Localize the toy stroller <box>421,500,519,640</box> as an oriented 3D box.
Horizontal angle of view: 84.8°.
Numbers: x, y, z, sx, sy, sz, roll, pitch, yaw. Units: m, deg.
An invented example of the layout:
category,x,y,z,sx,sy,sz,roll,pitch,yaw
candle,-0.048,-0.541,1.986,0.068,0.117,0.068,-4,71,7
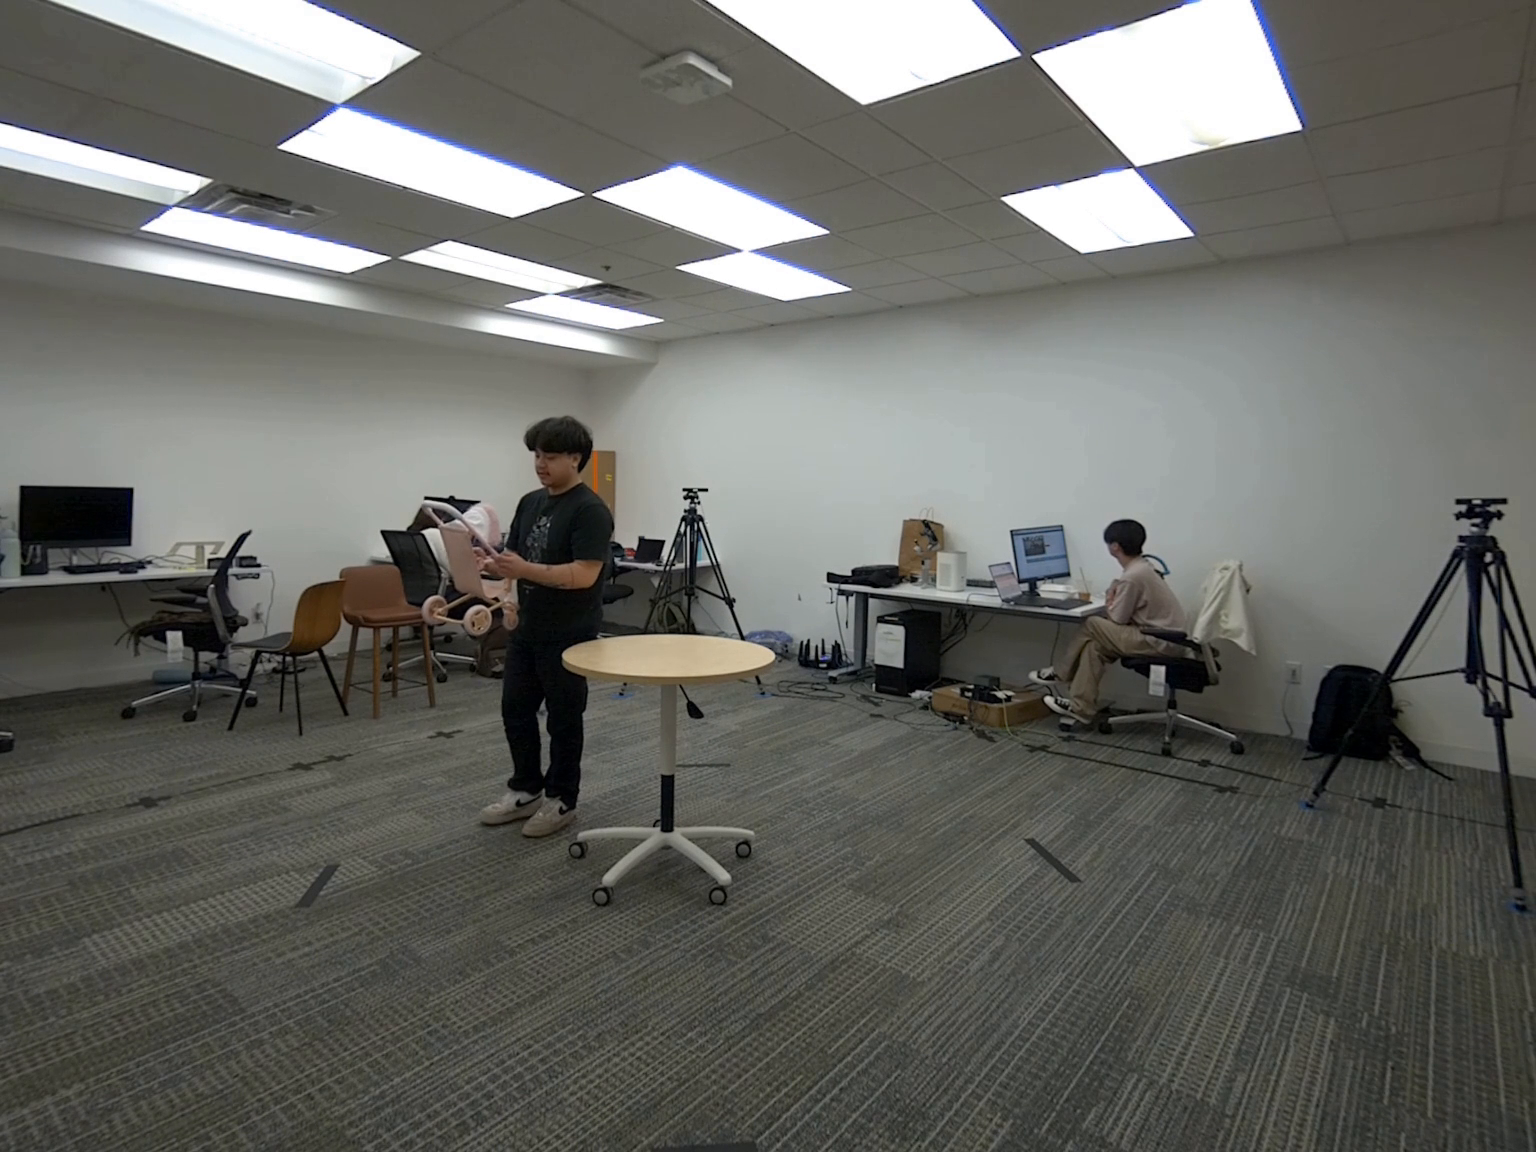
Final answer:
category,x,y,z,sx,sy,sz,roll,pitch,yaw
toy stroller,-1.091,-0.032,3.138,0.291,0.529,0.333,7,14,39
